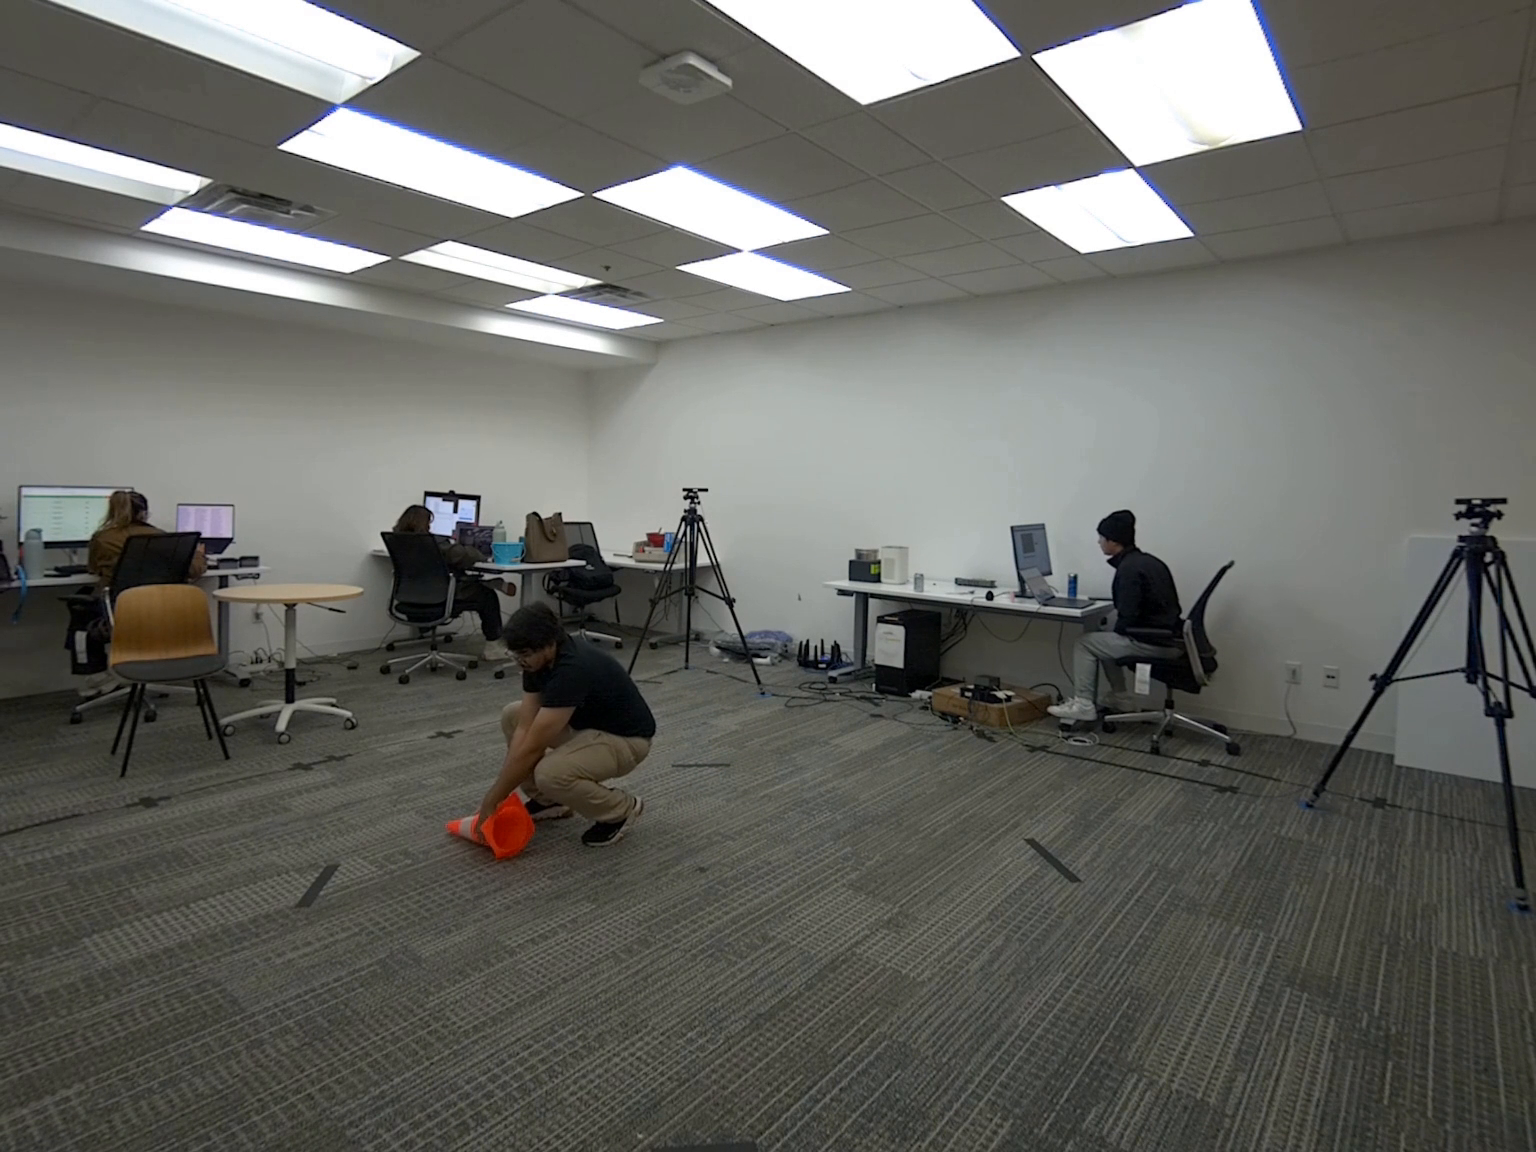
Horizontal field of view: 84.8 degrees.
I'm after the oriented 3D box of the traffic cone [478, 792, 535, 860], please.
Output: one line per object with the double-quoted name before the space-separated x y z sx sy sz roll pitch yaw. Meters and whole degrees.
"traffic cone" -1.141 0.970 3.298 0.393 0.199 0.204 -9 19 33
